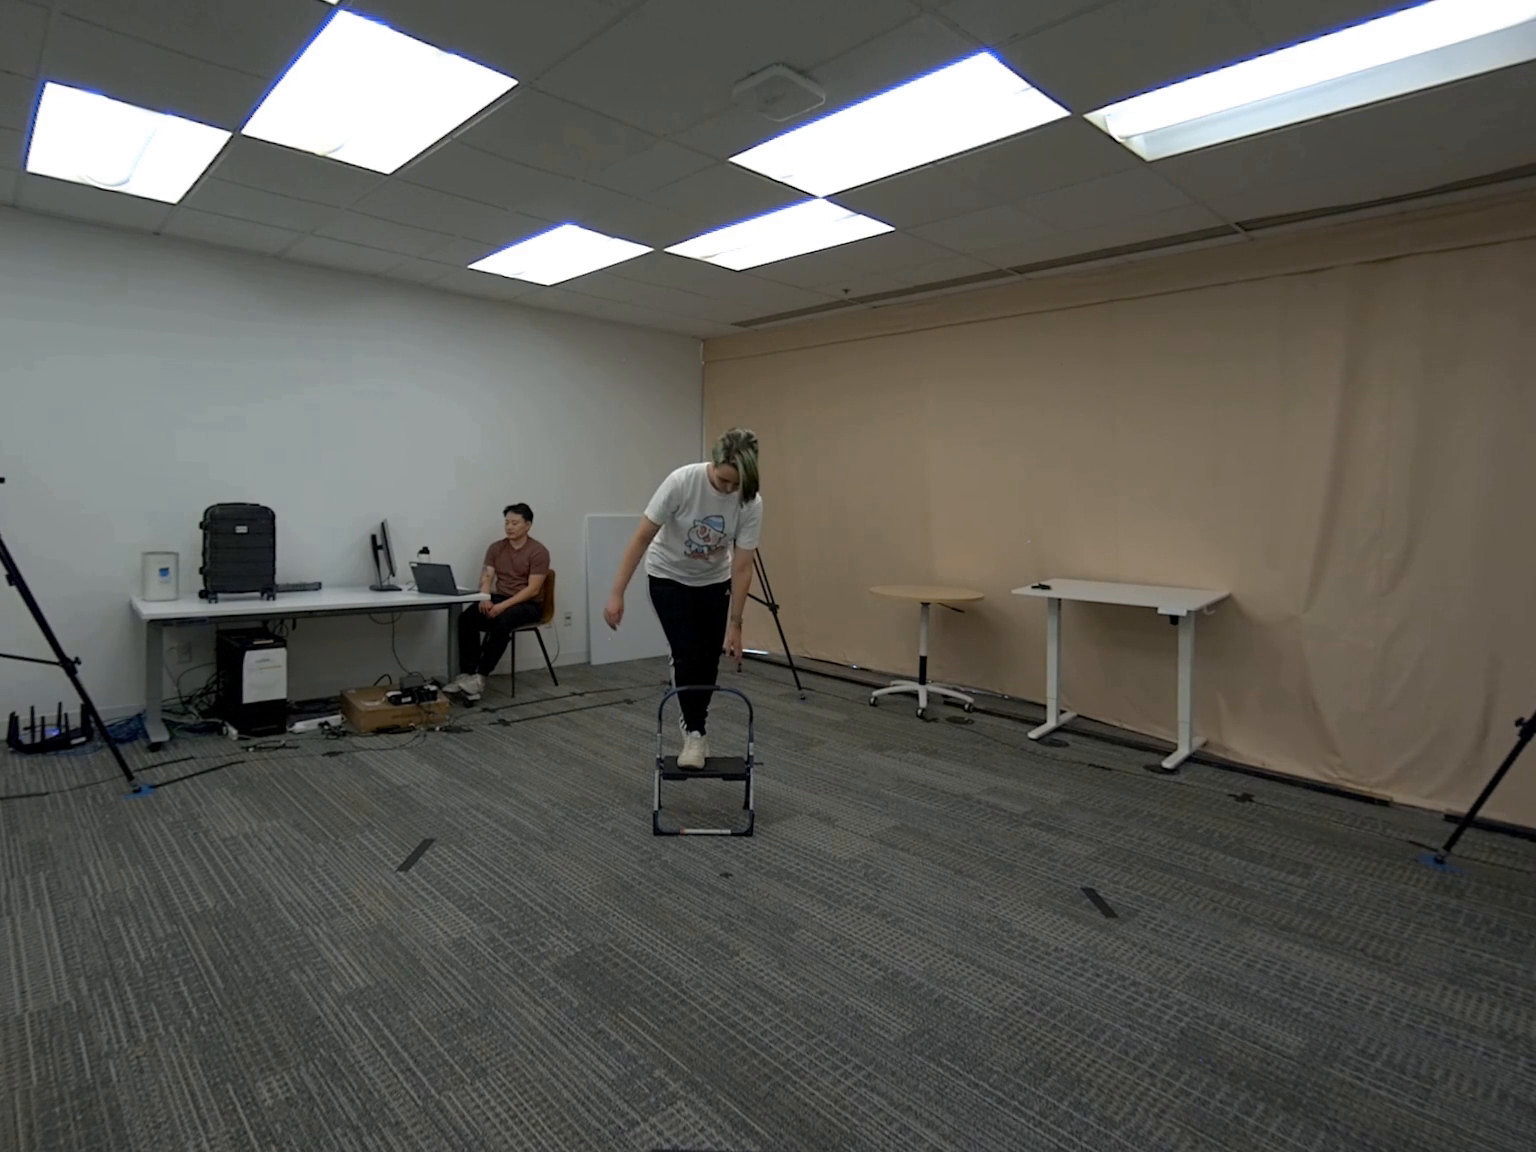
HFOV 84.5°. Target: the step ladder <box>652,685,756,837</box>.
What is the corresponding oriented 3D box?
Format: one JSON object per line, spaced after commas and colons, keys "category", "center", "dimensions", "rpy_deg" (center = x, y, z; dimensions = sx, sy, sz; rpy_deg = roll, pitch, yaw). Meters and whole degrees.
{"category": "step ladder", "center": [-0.281, 0.761, 3.616], "dimensions": [0.429, 0.605, 0.351], "rpy_deg": [1, 3, -4]}
